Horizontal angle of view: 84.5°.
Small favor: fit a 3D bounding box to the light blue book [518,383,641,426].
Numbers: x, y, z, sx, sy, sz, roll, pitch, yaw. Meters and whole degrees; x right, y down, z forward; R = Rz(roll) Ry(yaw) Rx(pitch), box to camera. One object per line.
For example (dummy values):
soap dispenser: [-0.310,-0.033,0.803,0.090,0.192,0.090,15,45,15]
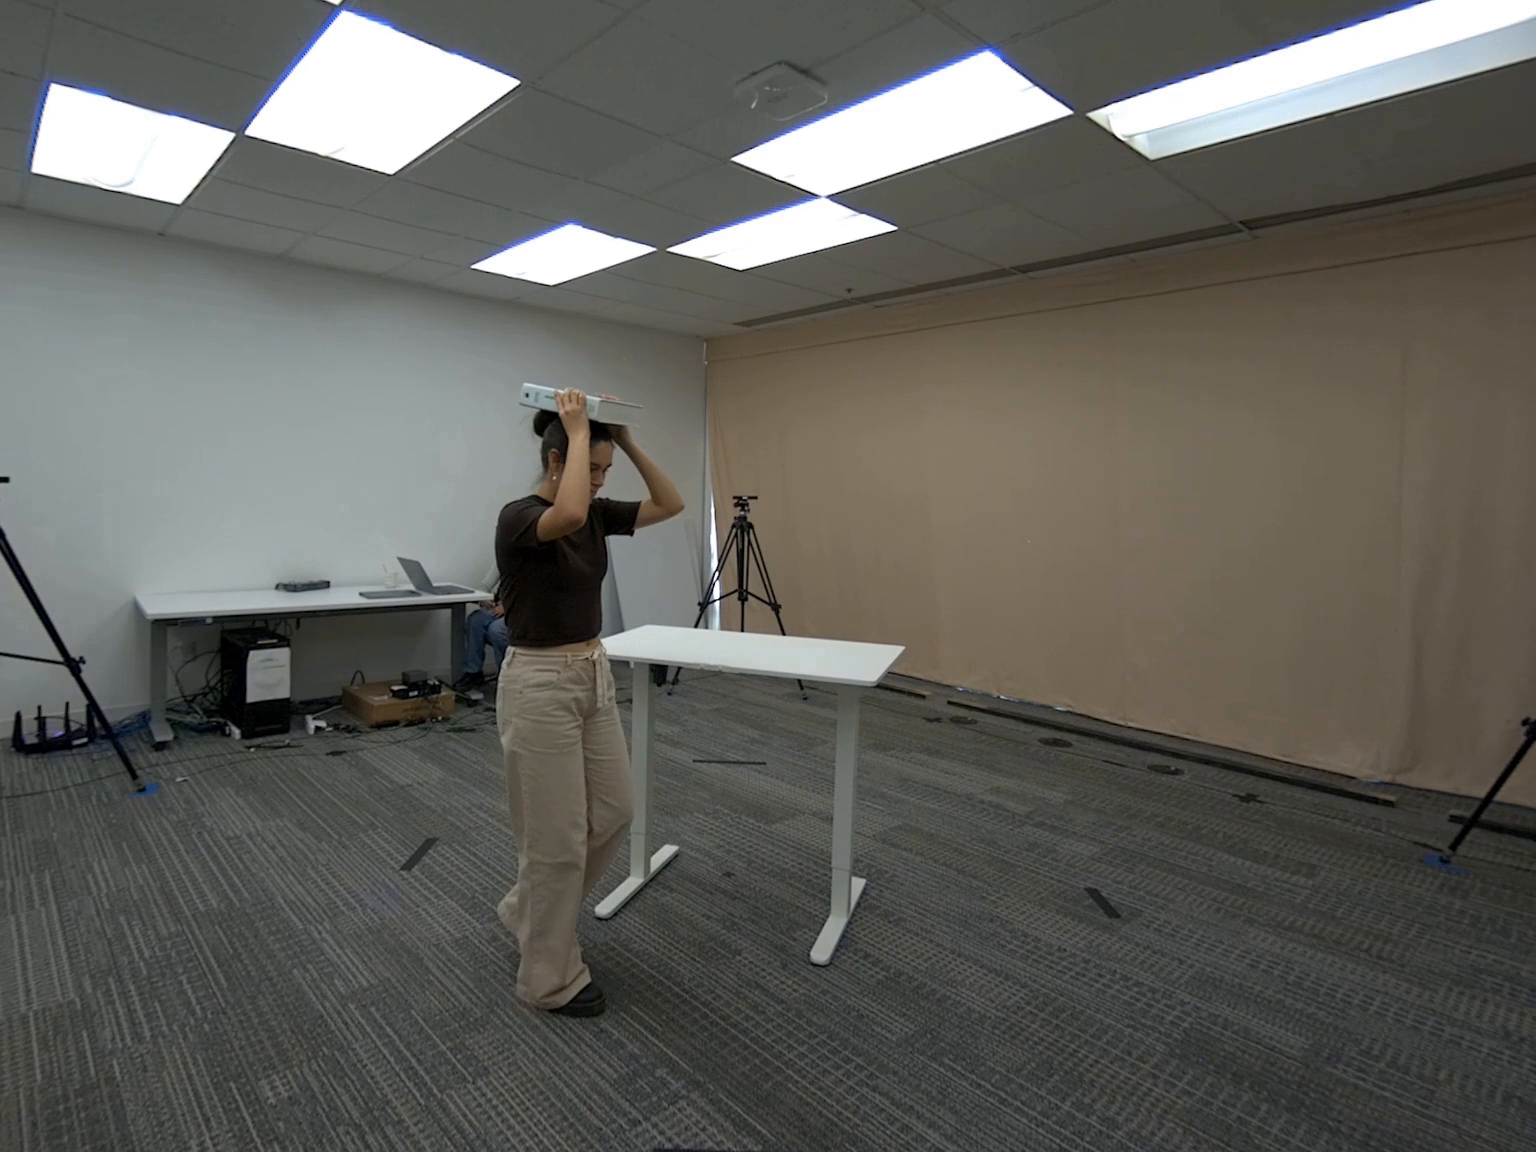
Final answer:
light blue book: [-0.509,-0.454,2.232,0.266,0.059,0.188,16,10,23]
